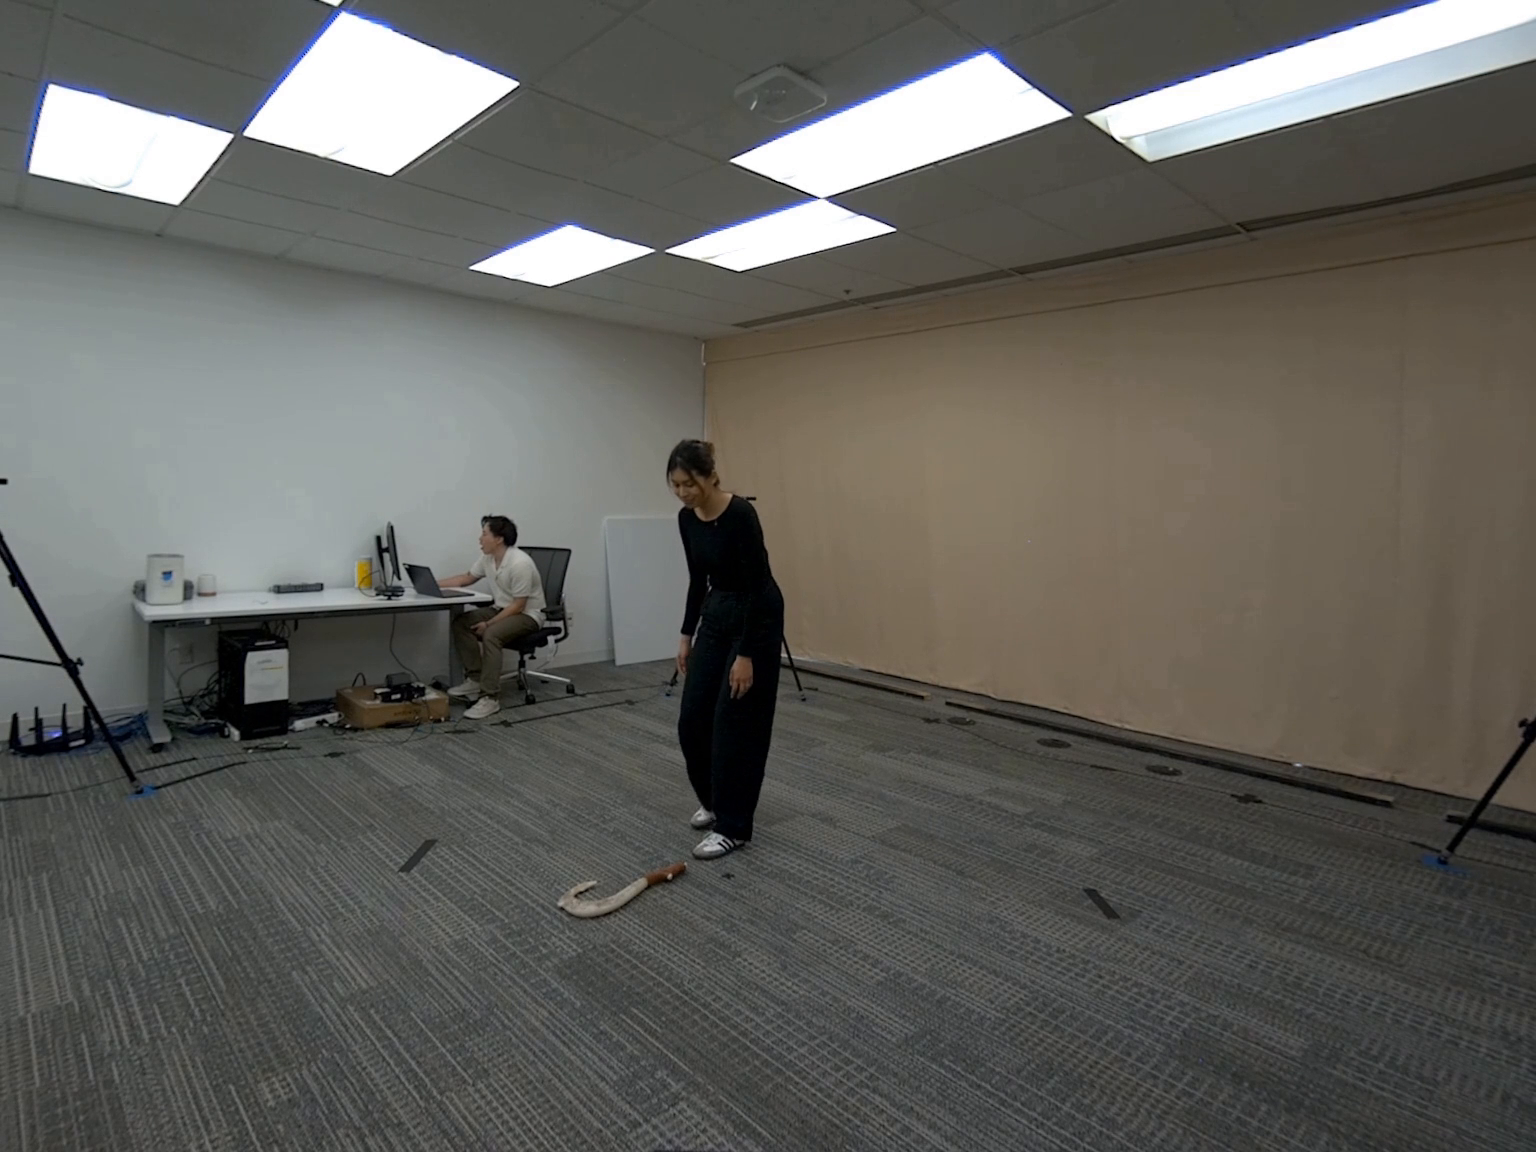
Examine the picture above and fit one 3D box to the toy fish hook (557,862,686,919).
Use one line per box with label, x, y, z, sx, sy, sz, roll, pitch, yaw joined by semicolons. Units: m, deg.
toy fish hook;-0.515;1.091;2.973;0.230;0.048;0.495;7;7;40
